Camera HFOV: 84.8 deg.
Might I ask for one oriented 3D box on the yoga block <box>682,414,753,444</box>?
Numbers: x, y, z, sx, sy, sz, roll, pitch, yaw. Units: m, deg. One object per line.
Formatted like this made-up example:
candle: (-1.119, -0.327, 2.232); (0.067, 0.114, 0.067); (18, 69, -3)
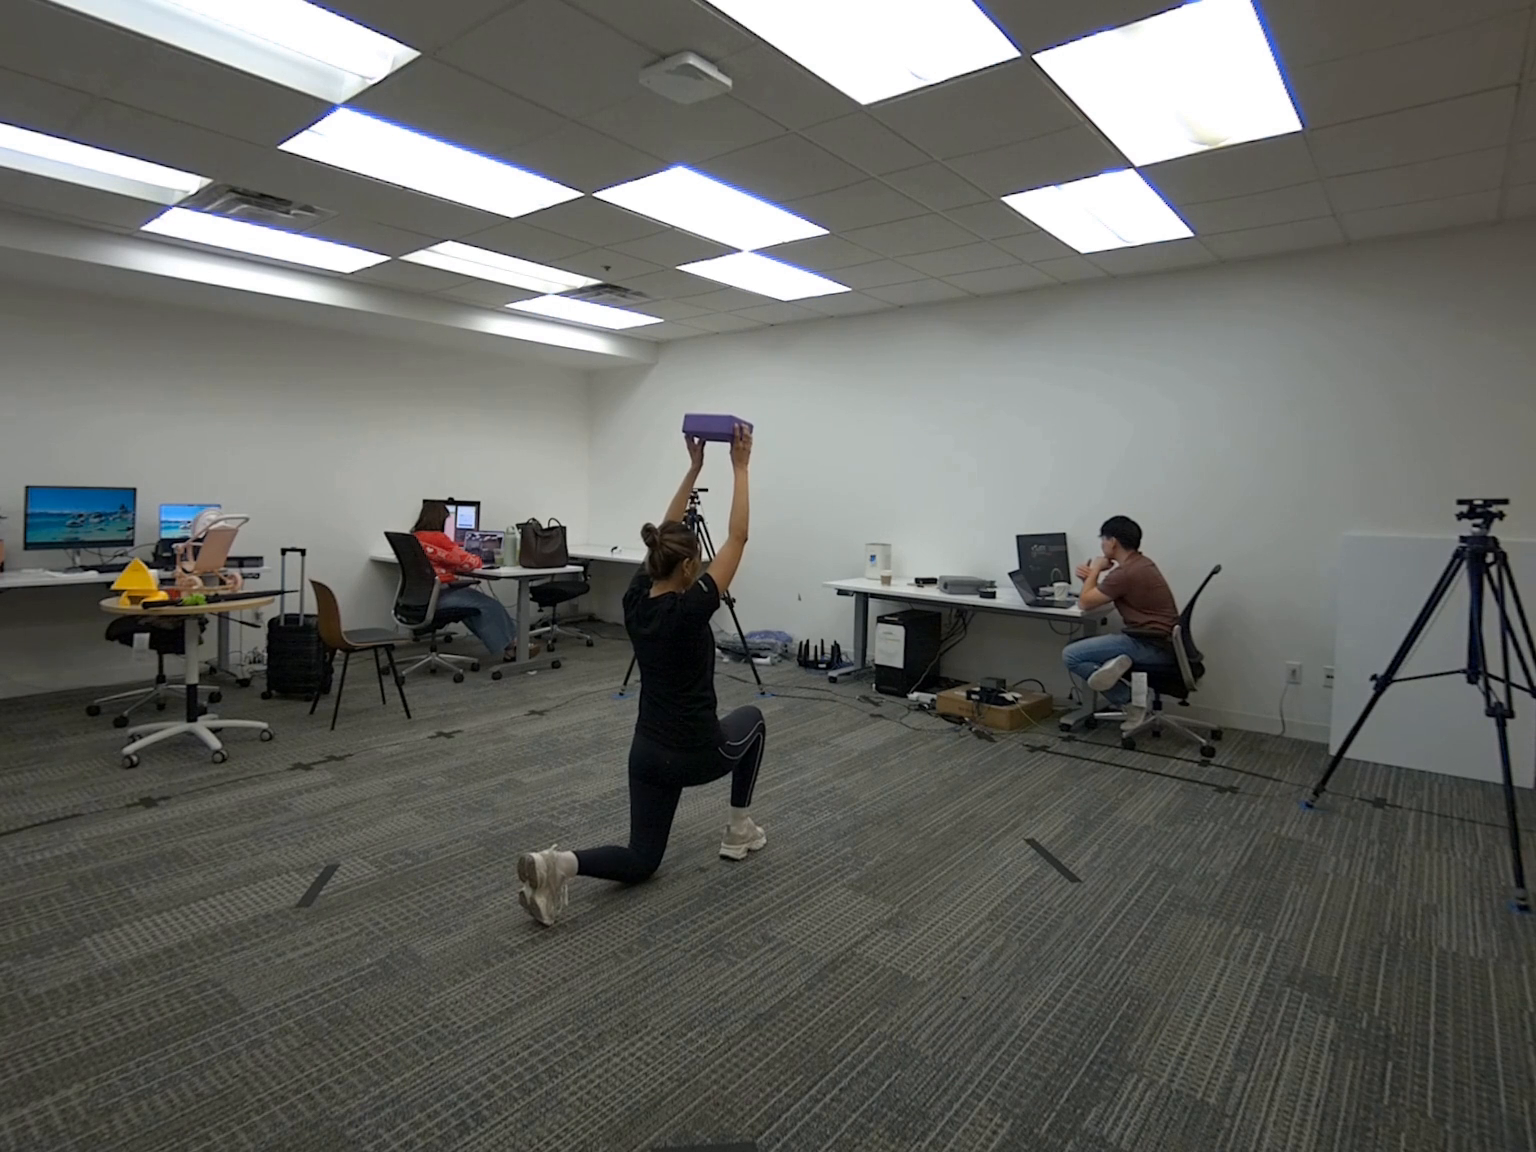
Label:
yoga block: (-0.192, -0.556, 3.157); (0.237, 0.076, 0.144); (11, -1, 35)
